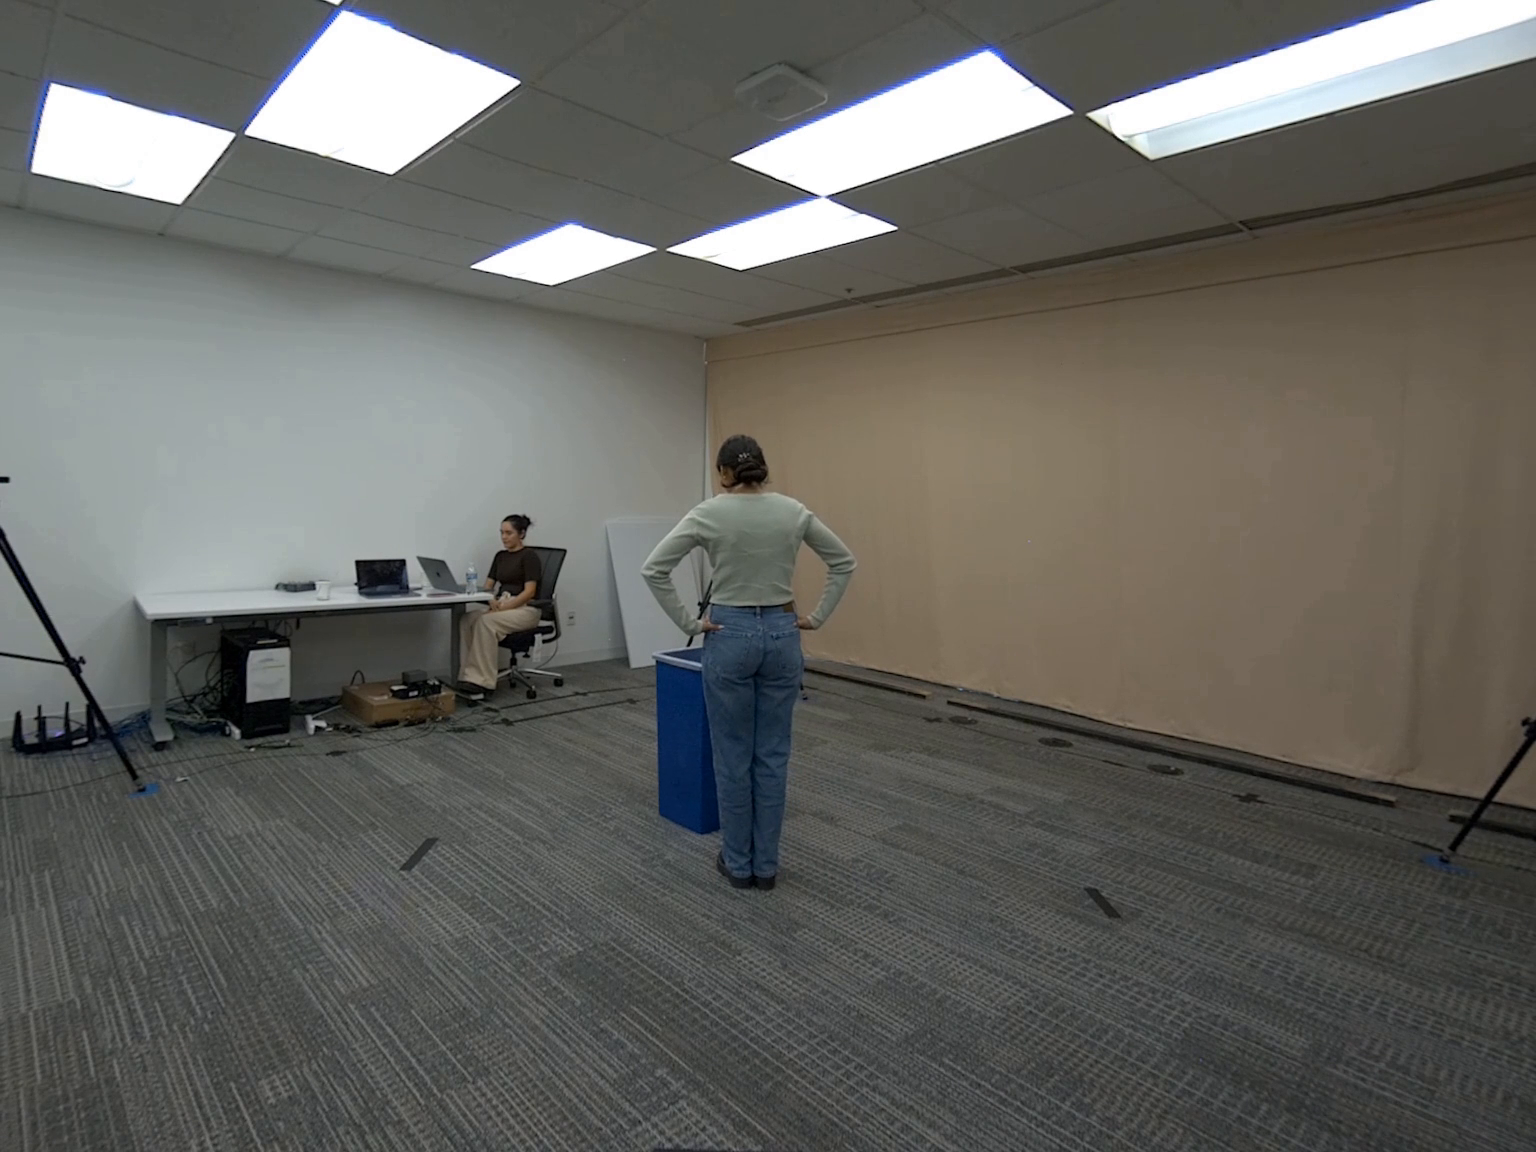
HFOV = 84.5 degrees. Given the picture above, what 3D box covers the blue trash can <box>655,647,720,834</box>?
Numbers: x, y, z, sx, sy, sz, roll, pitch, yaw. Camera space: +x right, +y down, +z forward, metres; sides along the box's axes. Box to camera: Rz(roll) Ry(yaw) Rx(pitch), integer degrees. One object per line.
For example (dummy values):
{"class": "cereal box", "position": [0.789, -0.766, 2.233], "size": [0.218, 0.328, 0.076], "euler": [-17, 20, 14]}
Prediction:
{"class": "blue trash can", "position": [-0.278, 0.693, 3.661], "size": [0.369, 0.712, 0.384], "euler": [-2, 5, -45]}
